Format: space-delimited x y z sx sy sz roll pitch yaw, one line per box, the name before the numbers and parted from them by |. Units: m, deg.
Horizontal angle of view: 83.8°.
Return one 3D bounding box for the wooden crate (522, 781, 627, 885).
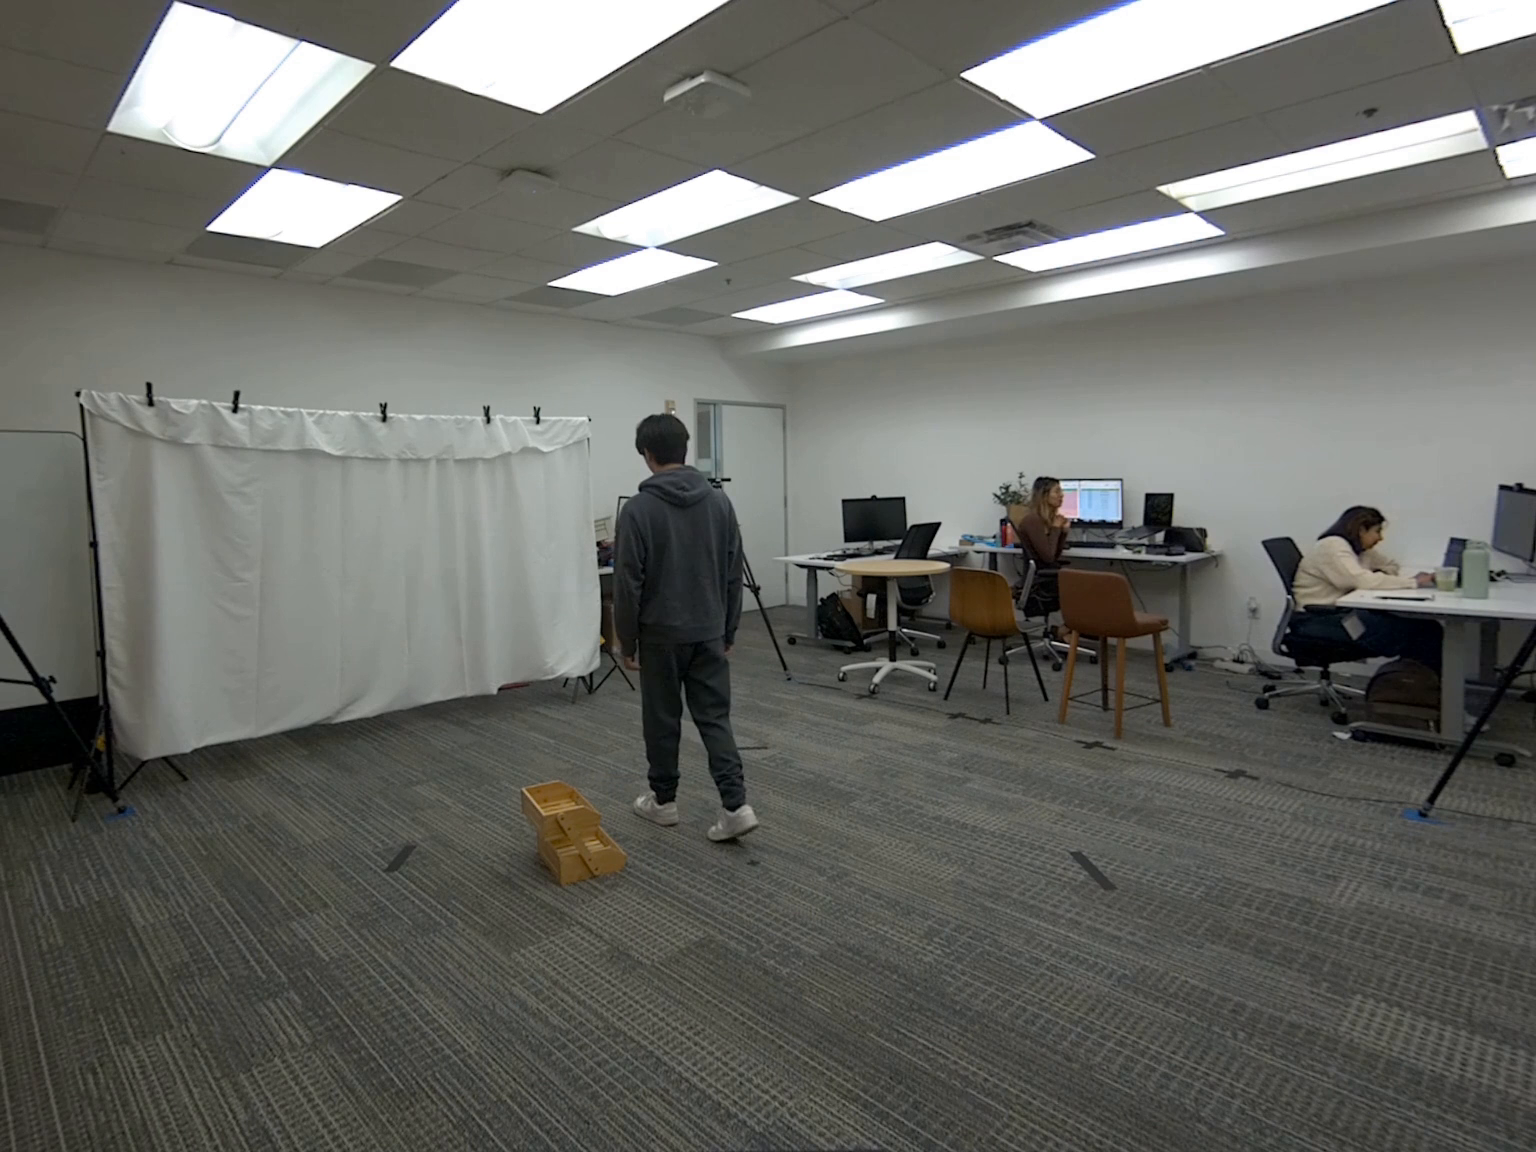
wooden crate | -0.712 0.917 3.133 0.295 0.272 0.333 -5 7 -29
